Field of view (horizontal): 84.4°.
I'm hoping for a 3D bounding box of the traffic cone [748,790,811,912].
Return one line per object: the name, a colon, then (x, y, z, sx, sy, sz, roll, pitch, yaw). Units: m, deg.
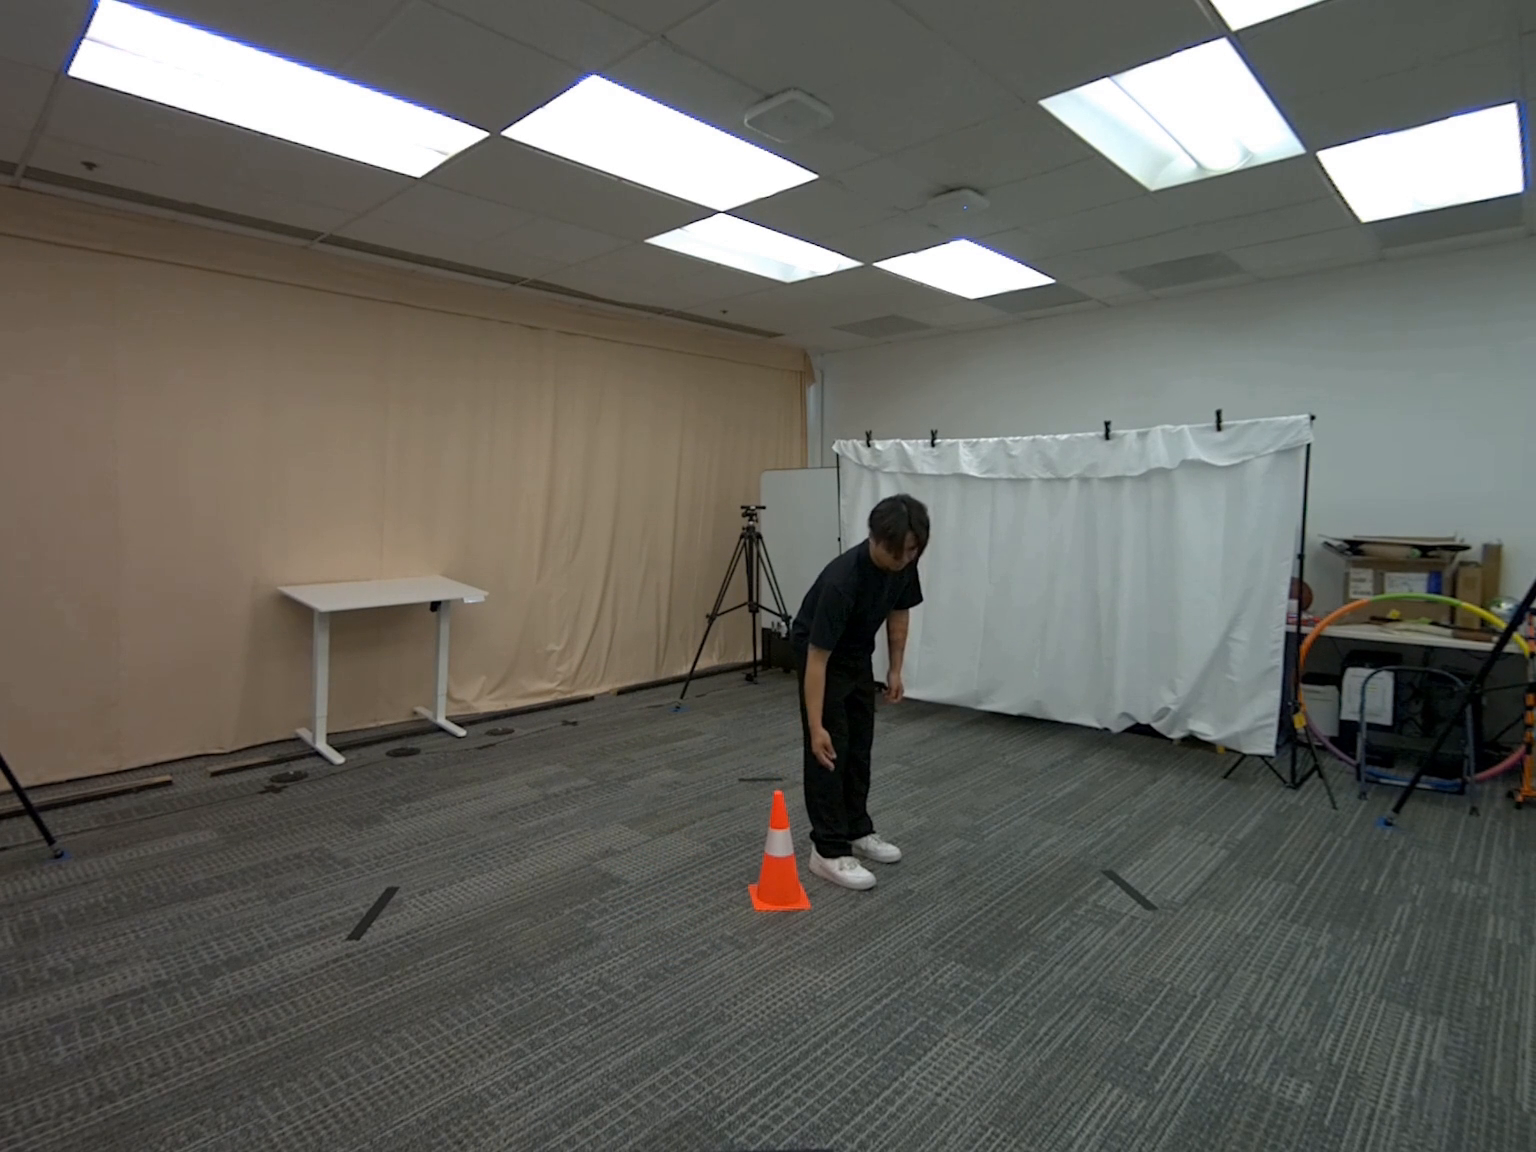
traffic cone: (0.037, 0.960, 2.987, 0.204, 0.383, 0.205, -1, 3, -5)
